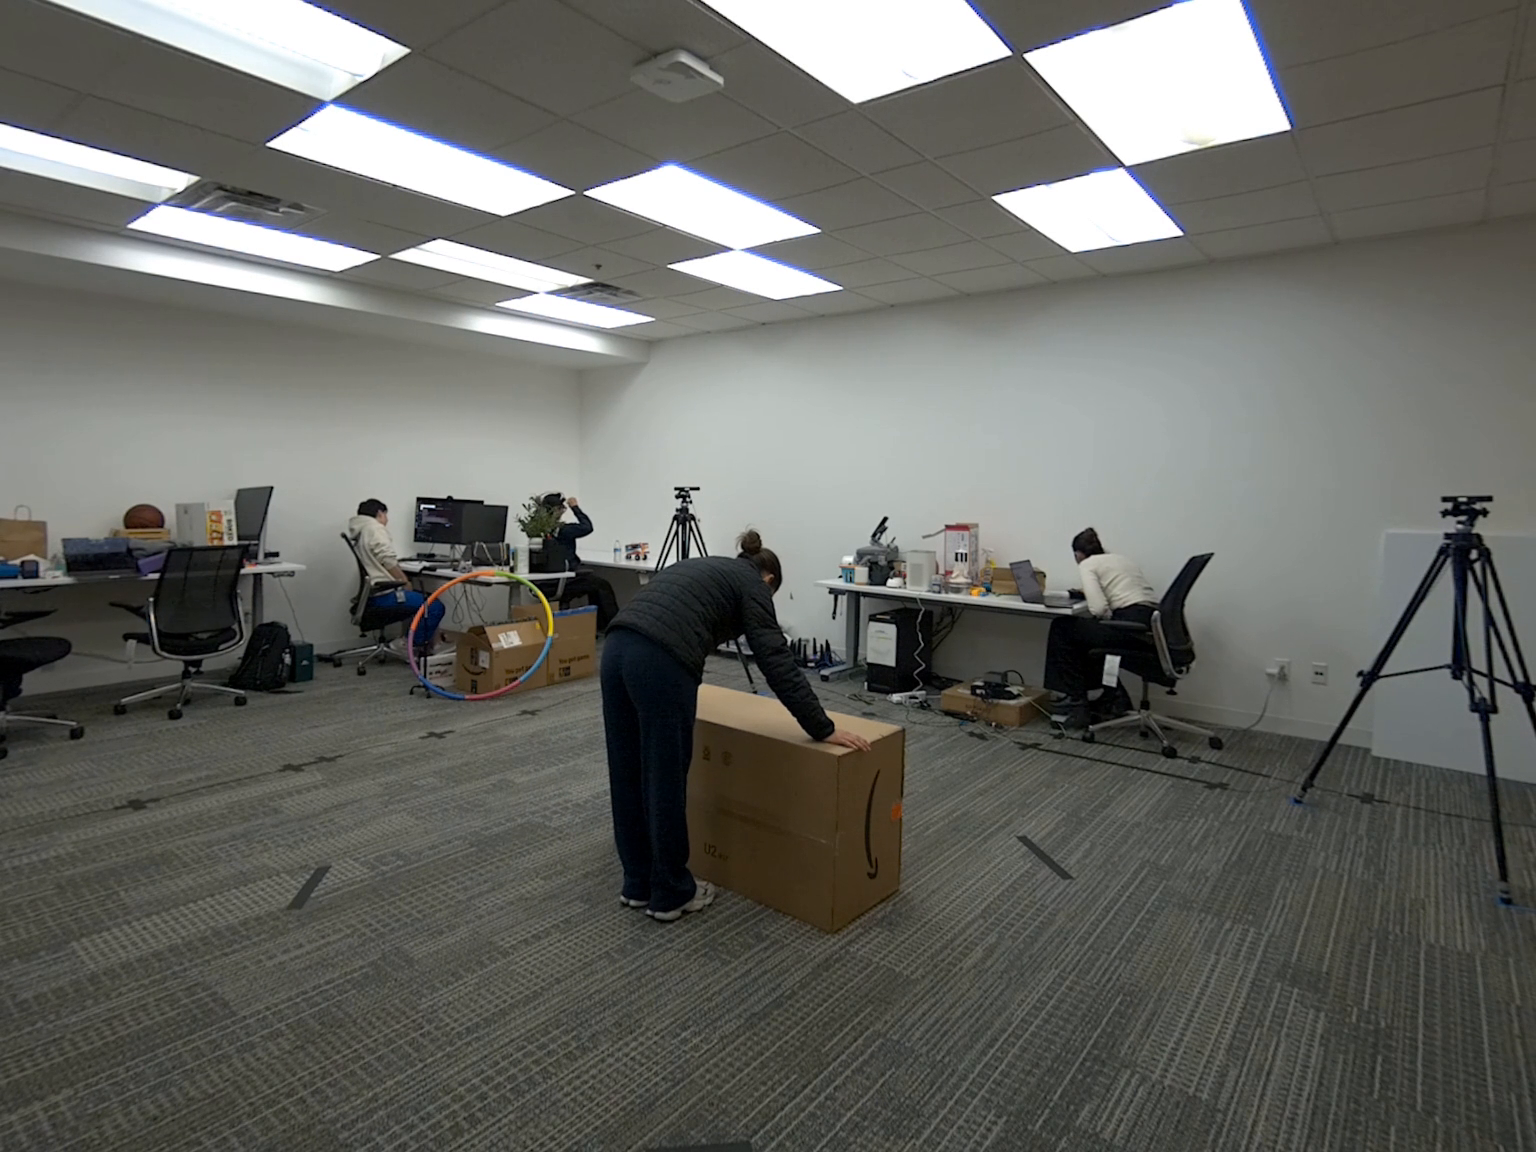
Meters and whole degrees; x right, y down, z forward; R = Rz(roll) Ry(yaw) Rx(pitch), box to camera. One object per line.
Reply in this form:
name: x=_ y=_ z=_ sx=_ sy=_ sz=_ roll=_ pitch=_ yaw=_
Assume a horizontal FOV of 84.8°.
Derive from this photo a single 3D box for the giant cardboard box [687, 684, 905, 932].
giant cardboard box: x=-0.047 y=0.779 z=3.149 sx=1.062 sy=0.581 sz=0.434 roll=6 pitch=7 yaw=40
